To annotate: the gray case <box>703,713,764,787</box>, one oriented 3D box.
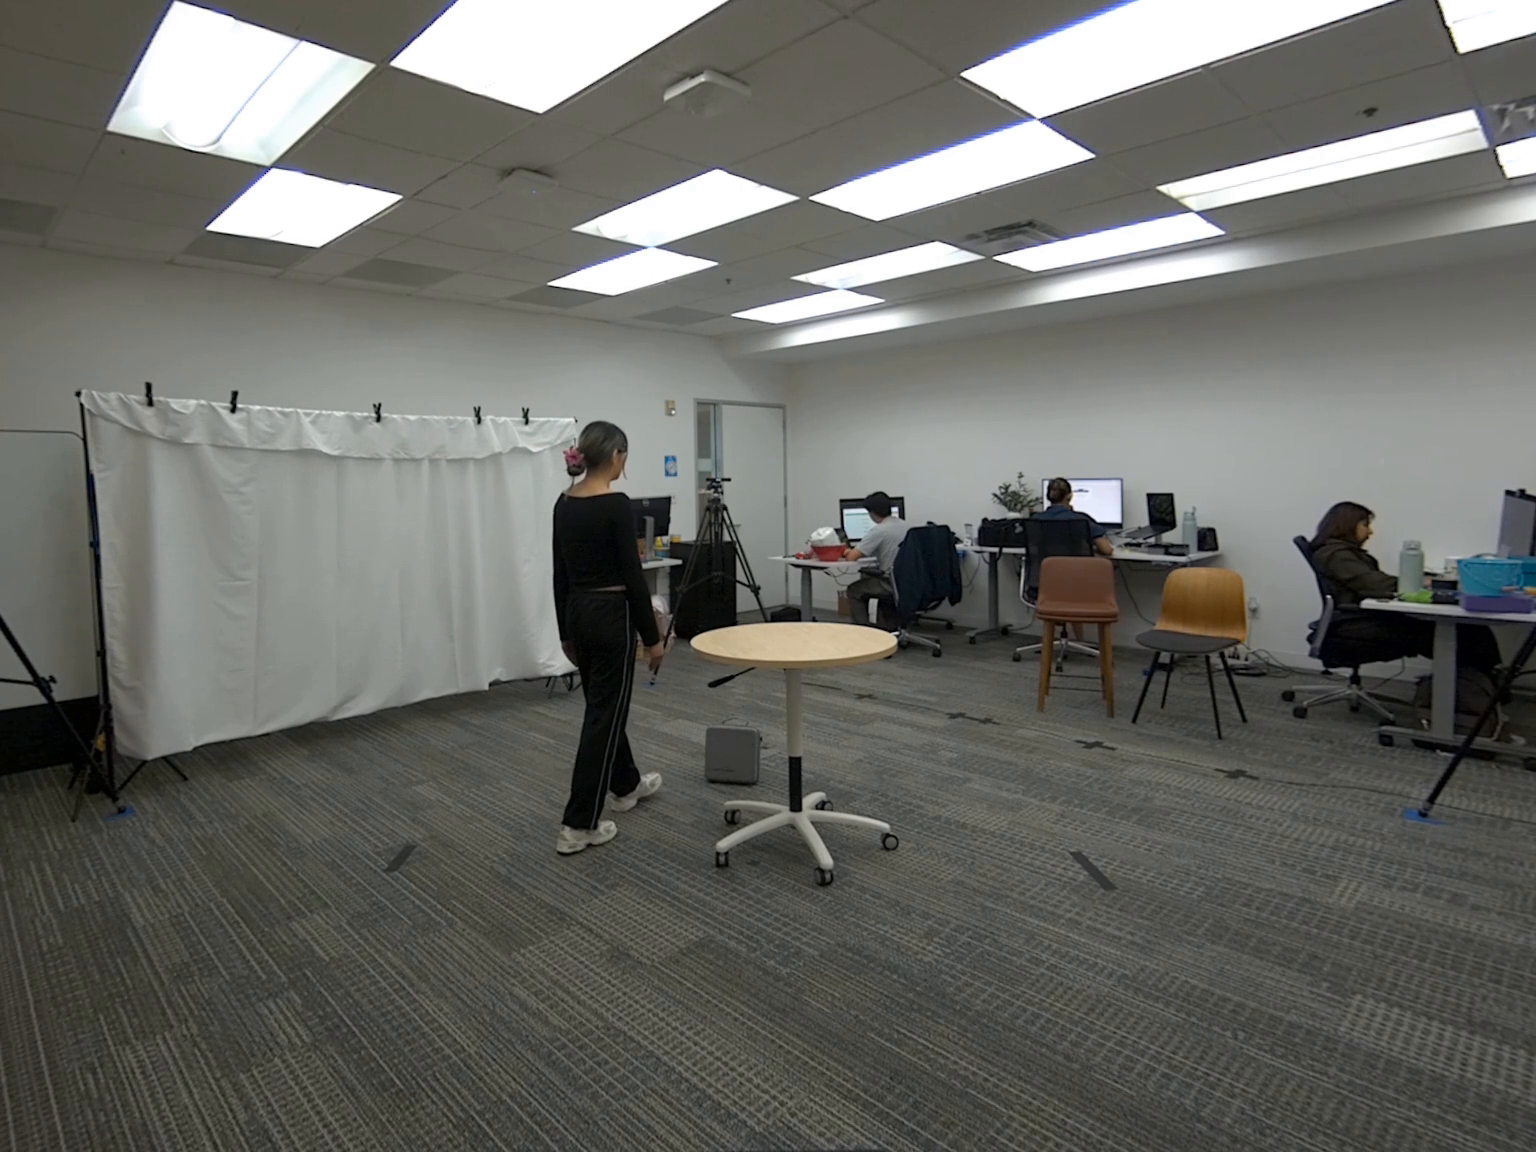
[{"bbox_3d":[-0.165,0.817,3.961,0.261,0.262,0.102,1,-7,15],"label":"gray case"}]
